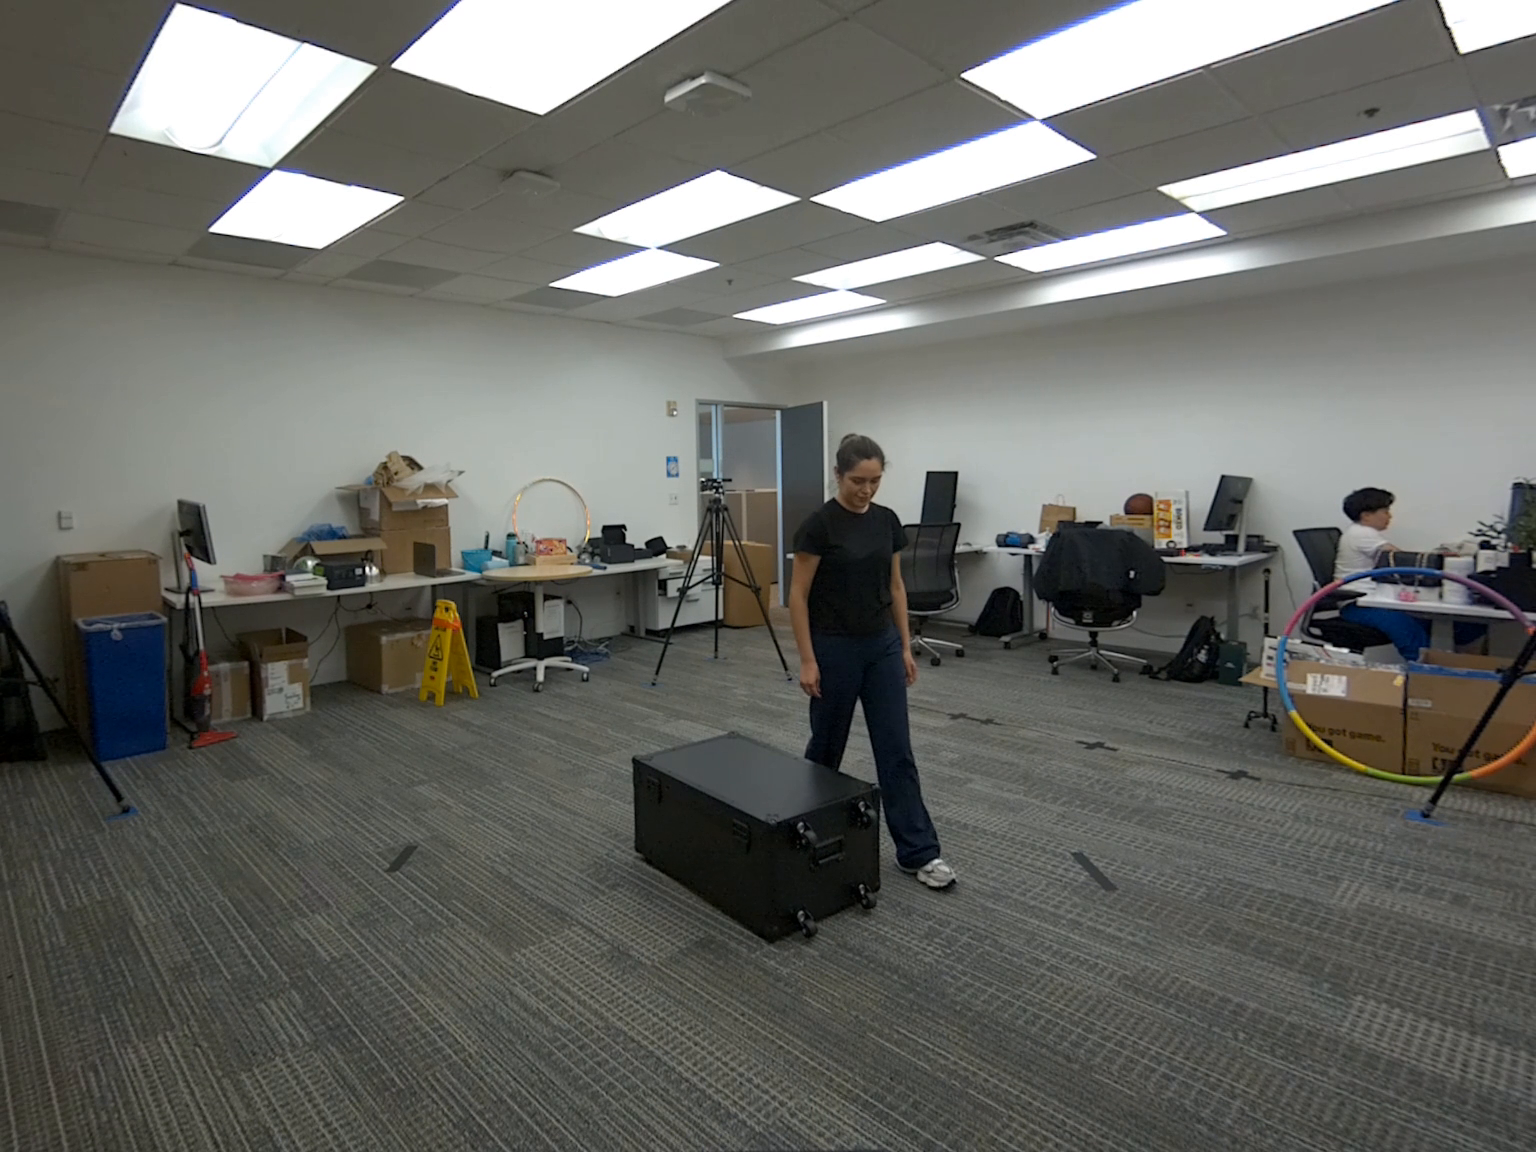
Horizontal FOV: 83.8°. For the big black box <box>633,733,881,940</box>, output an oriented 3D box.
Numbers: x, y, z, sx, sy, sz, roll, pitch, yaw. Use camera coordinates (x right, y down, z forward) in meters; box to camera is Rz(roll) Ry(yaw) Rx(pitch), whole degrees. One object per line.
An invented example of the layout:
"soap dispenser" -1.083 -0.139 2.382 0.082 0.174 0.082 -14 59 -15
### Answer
"big black box" -0.080 0.861 3.028 0.508 0.394 0.888 -5 8 -39
